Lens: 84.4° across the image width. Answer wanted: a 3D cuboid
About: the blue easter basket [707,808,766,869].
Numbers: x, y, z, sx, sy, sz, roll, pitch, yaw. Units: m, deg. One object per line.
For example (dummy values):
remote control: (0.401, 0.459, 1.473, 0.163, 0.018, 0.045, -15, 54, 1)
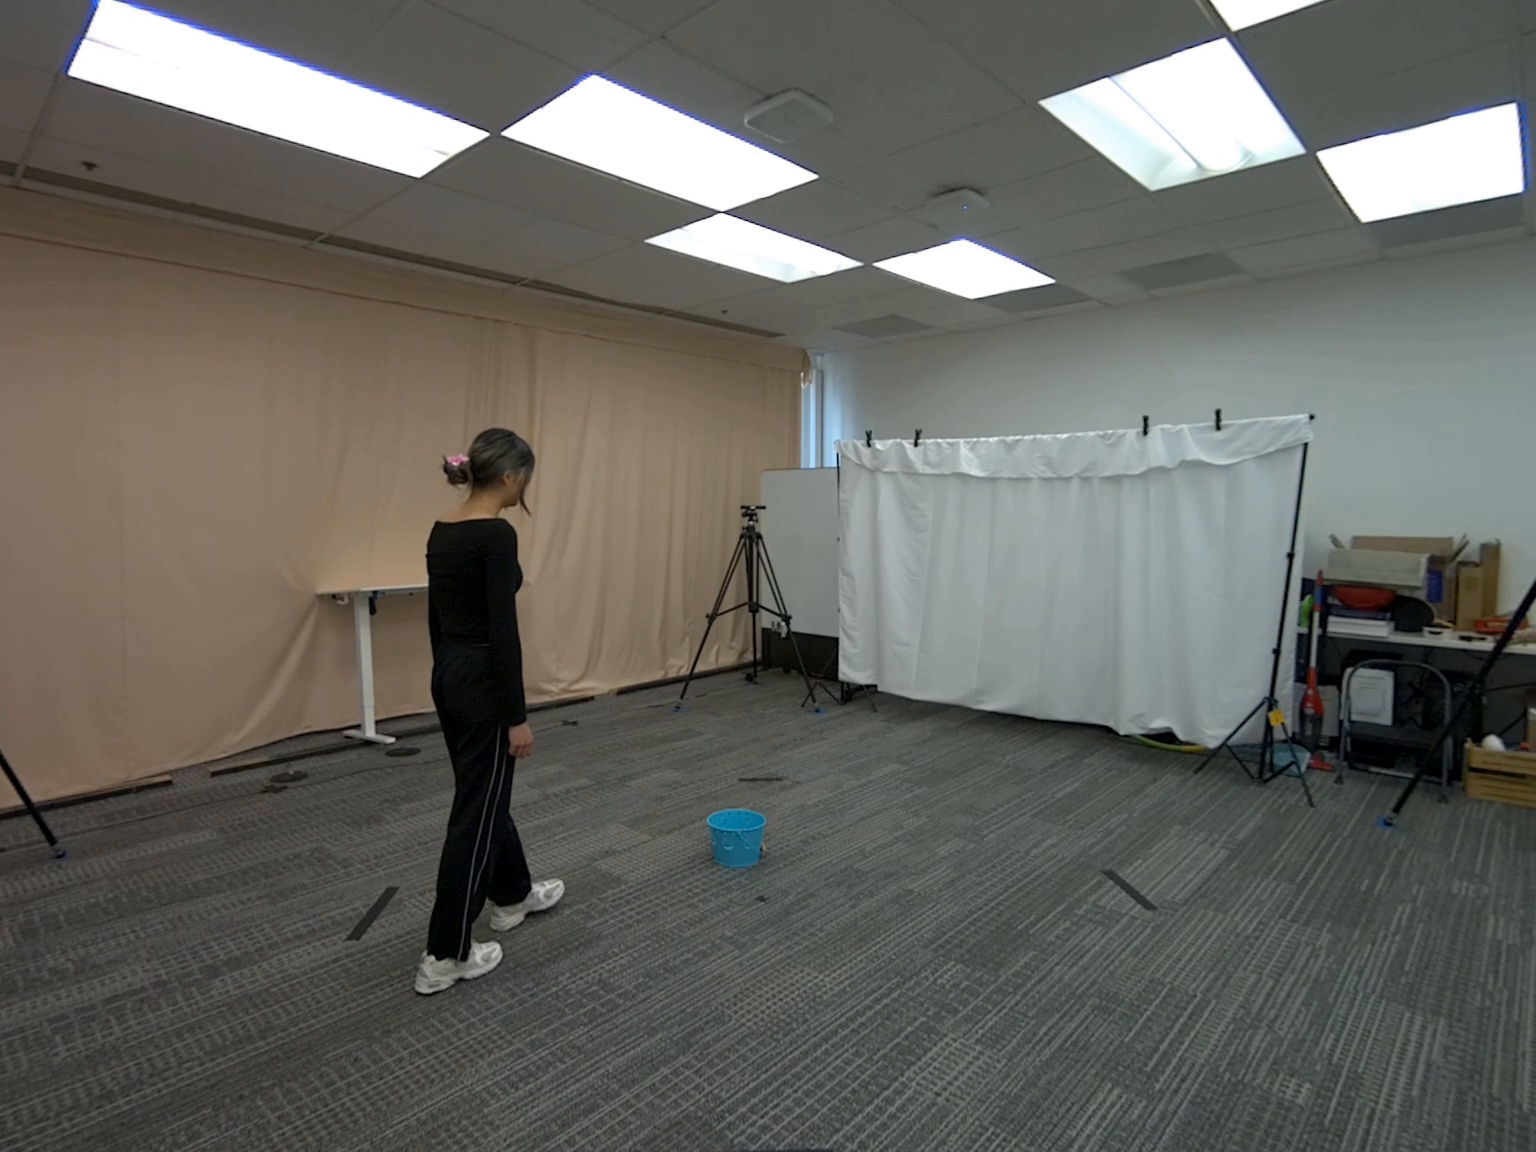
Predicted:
blue easter basket: (-0.117, 1.037, 3.327, 0.243, 0.155, 0.244, 0, 4, -2)
